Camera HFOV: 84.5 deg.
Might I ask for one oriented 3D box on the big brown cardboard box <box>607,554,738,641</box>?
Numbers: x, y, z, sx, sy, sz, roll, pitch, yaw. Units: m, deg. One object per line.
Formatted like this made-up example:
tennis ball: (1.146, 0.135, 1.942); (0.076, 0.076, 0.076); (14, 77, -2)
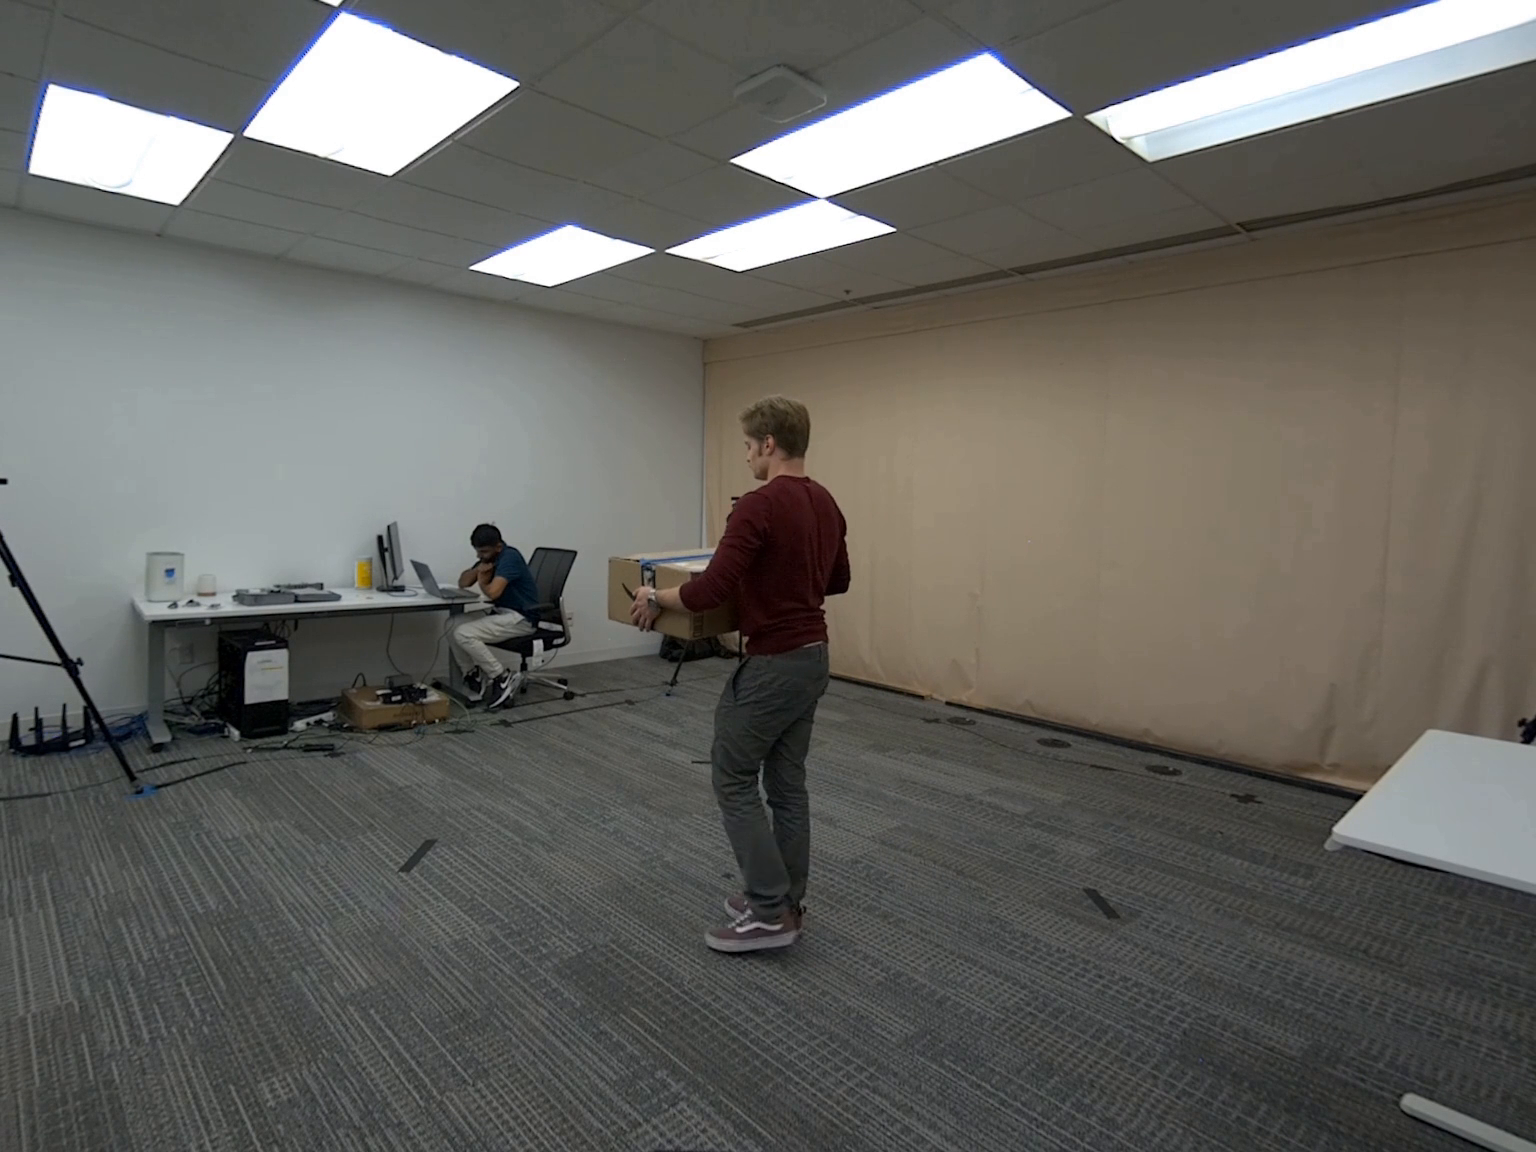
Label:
big brown cardboard box: (-0.214, 0.045, 2.905); (0.429, 0.232, 0.576); (8, 10, 42)
